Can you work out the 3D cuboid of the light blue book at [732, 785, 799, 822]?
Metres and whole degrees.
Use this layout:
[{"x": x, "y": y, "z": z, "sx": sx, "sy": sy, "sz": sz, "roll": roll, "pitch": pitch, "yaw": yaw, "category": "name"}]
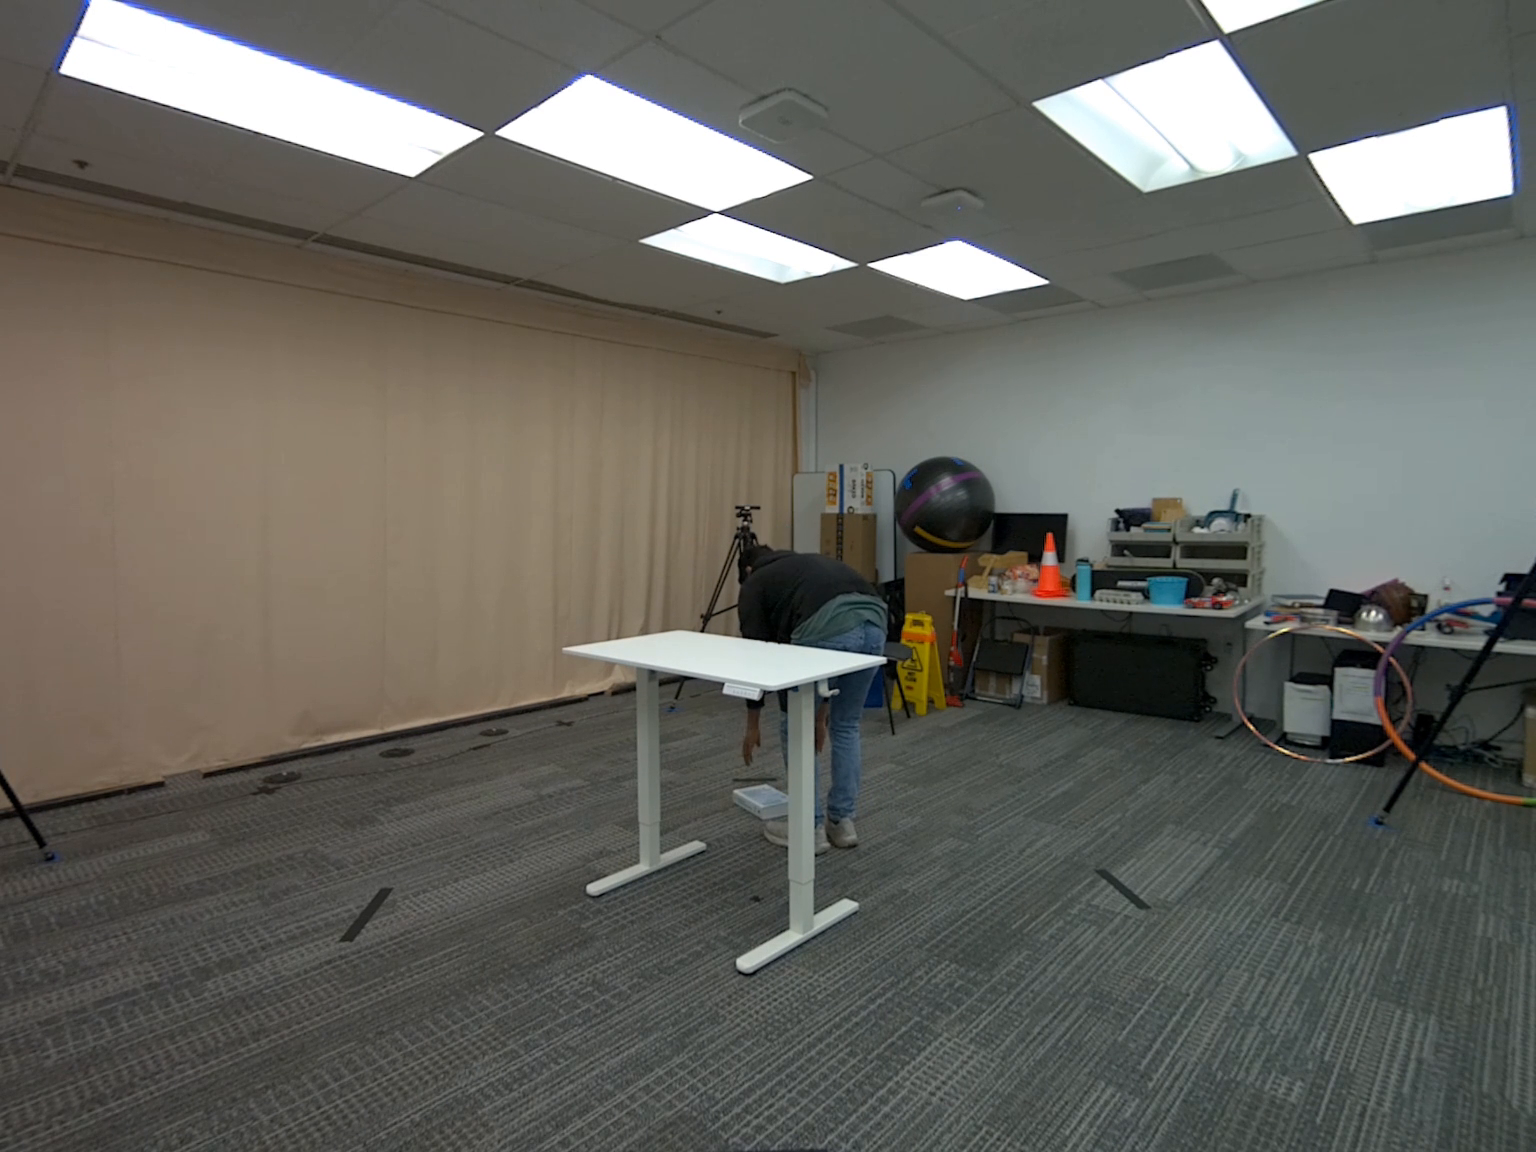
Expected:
[{"x": -0.015, "y": 1.038, "z": 3.889, "sx": 0.186, "sy": 0.059, "sz": 0.269, "roll": -2, "pitch": 5, "yaw": -31, "category": "light blue book"}]
